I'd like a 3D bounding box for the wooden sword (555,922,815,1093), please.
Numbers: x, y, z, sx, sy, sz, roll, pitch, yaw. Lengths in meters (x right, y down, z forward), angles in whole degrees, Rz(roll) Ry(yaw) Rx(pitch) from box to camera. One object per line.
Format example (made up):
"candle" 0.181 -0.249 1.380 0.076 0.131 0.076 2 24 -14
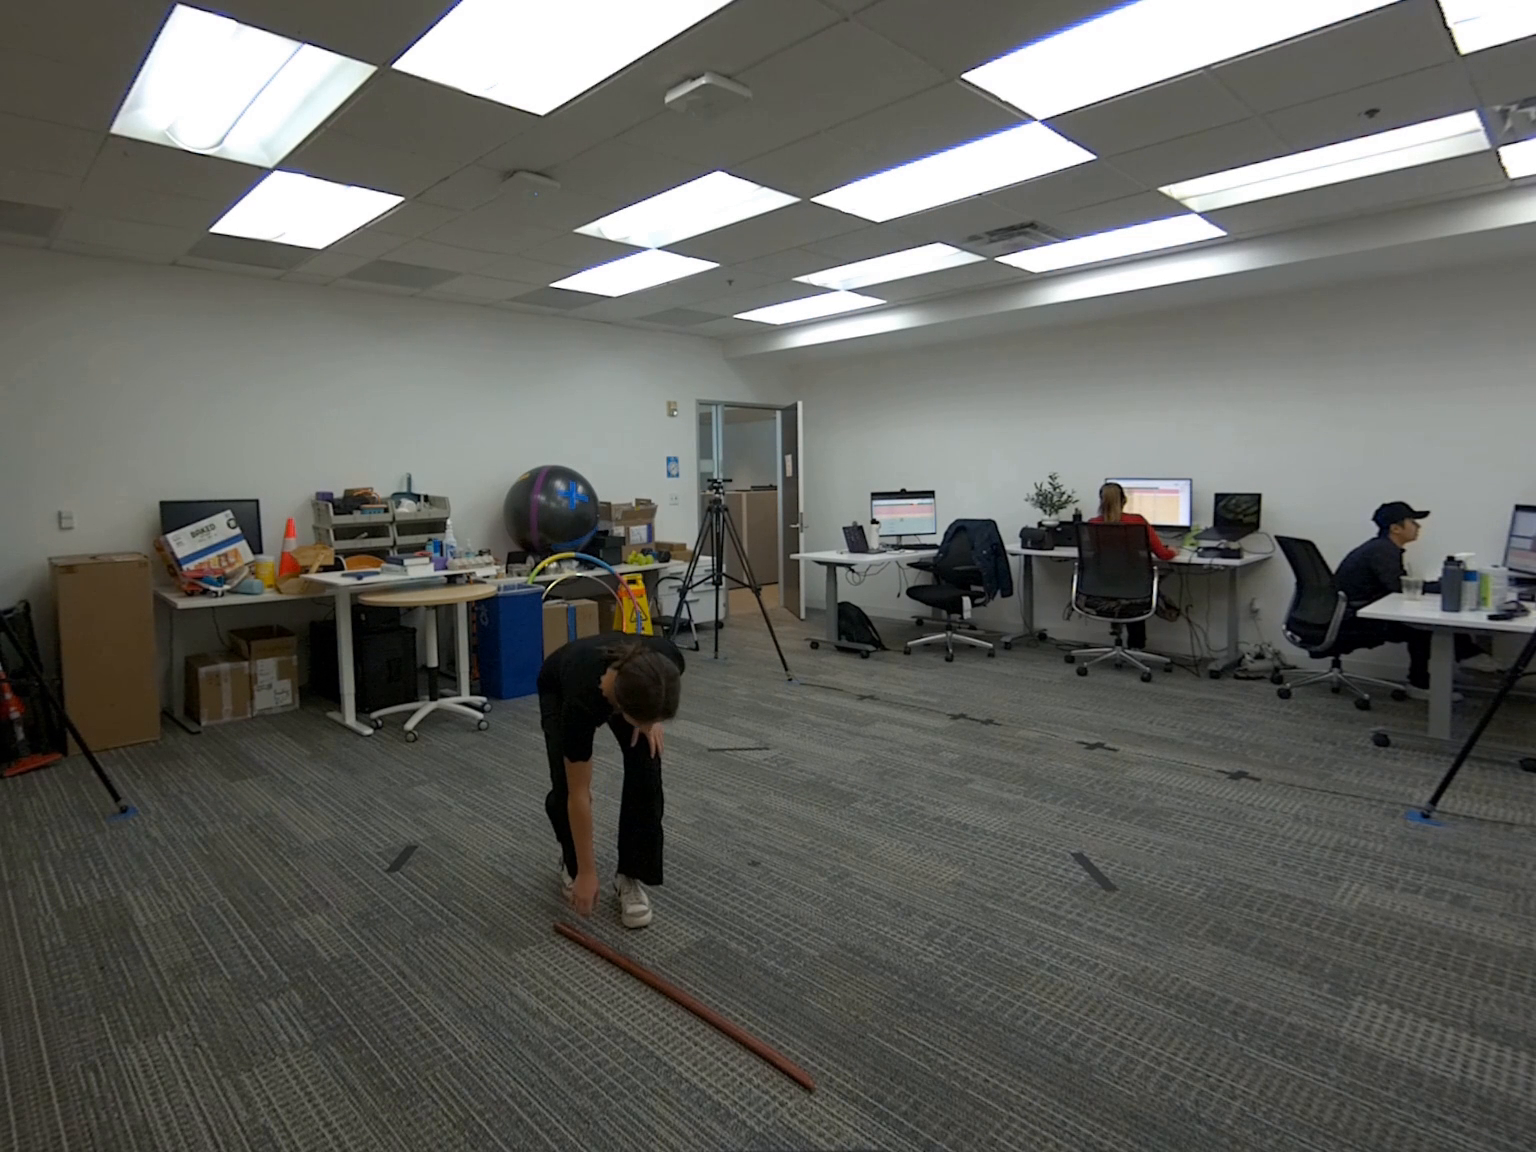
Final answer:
"wooden sword" -0.245 1.113 2.329 1.057 0.024 0.049 6 -7 44
